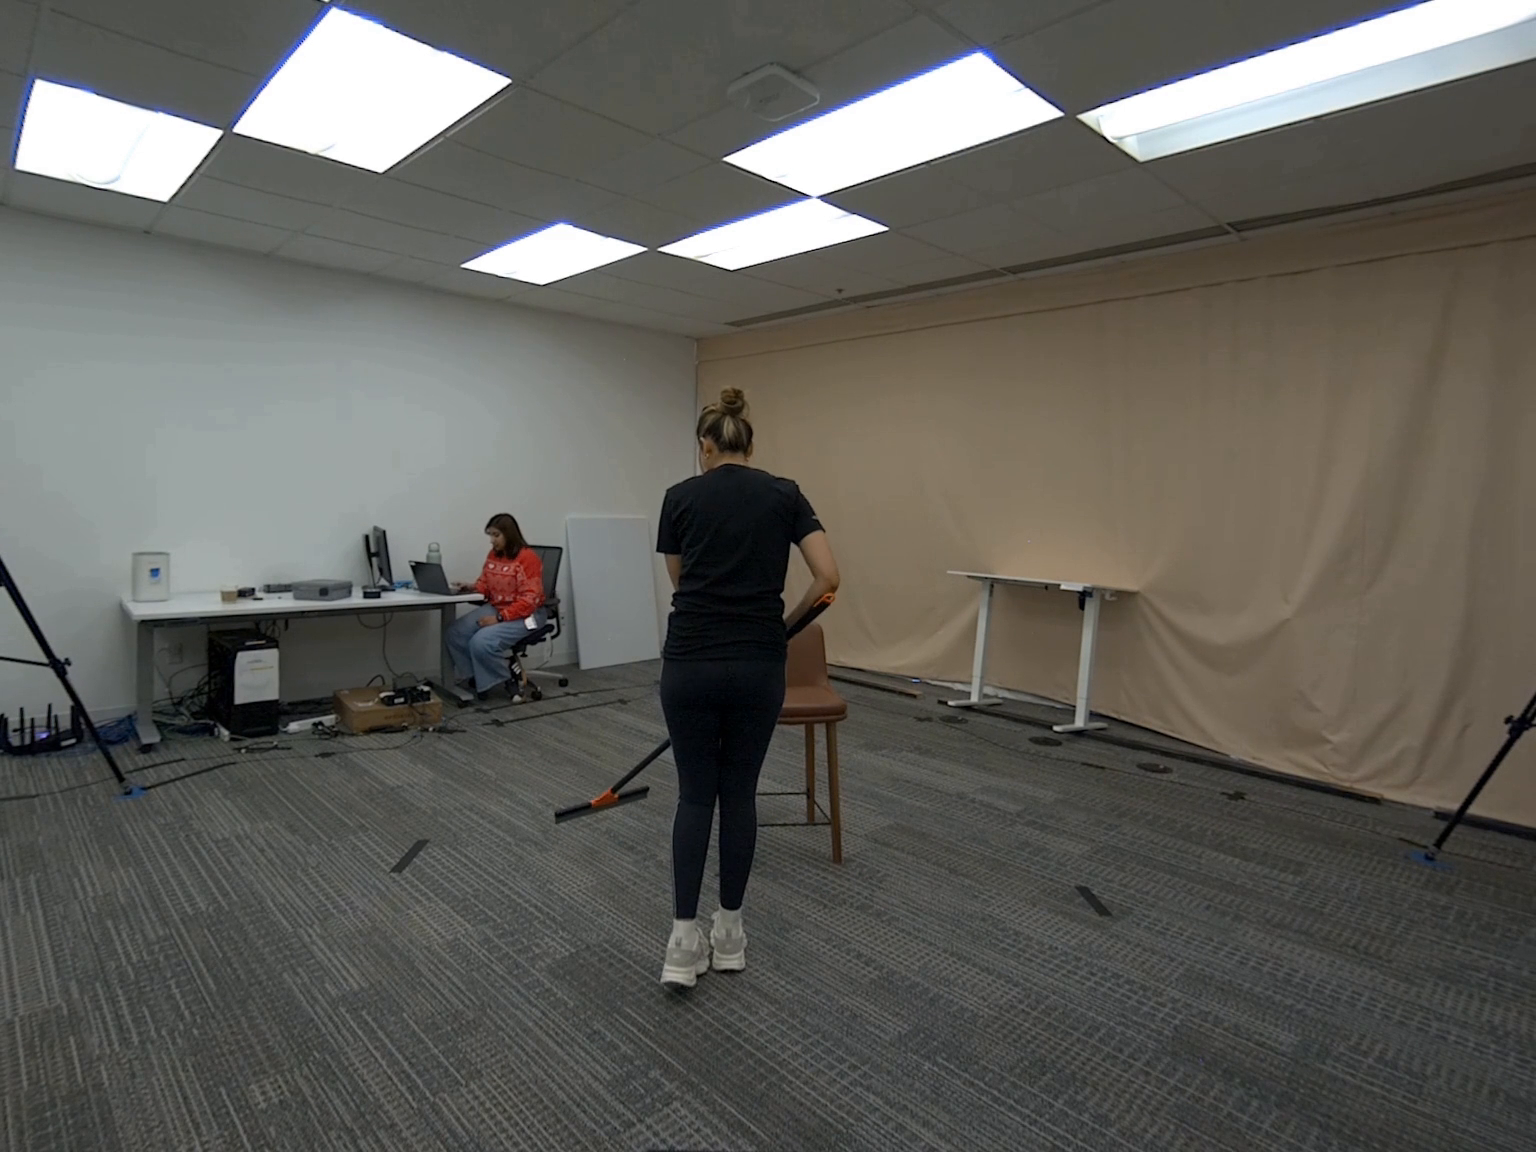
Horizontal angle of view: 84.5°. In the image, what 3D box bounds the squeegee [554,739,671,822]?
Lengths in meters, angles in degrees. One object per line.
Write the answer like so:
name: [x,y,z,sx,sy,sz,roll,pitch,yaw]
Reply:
squeegee: [-0.243,0.475,2.871,0.427,0.054,1.538,-1,-33,-43]
